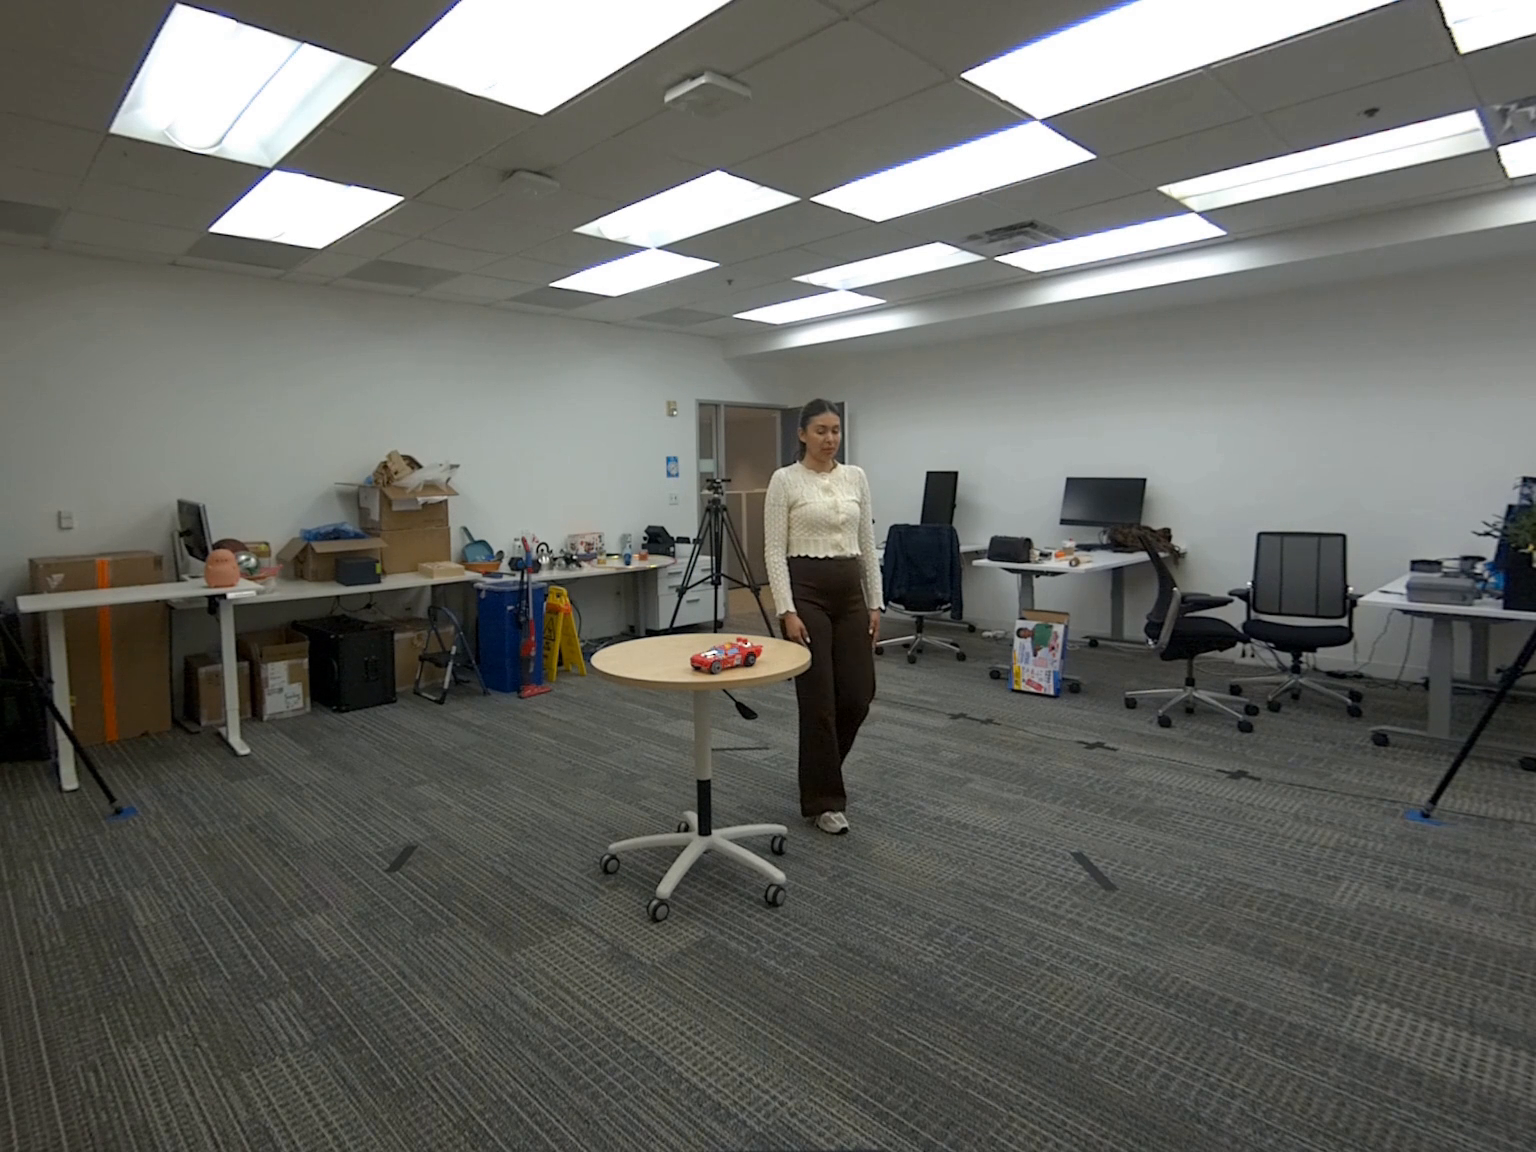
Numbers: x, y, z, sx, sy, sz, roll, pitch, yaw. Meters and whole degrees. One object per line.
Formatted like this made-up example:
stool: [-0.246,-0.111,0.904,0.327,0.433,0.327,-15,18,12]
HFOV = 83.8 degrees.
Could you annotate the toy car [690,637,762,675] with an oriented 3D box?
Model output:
toy car: [-0.125,0.268,2.794,0.250,0.082,0.134,-21,18,-38]
